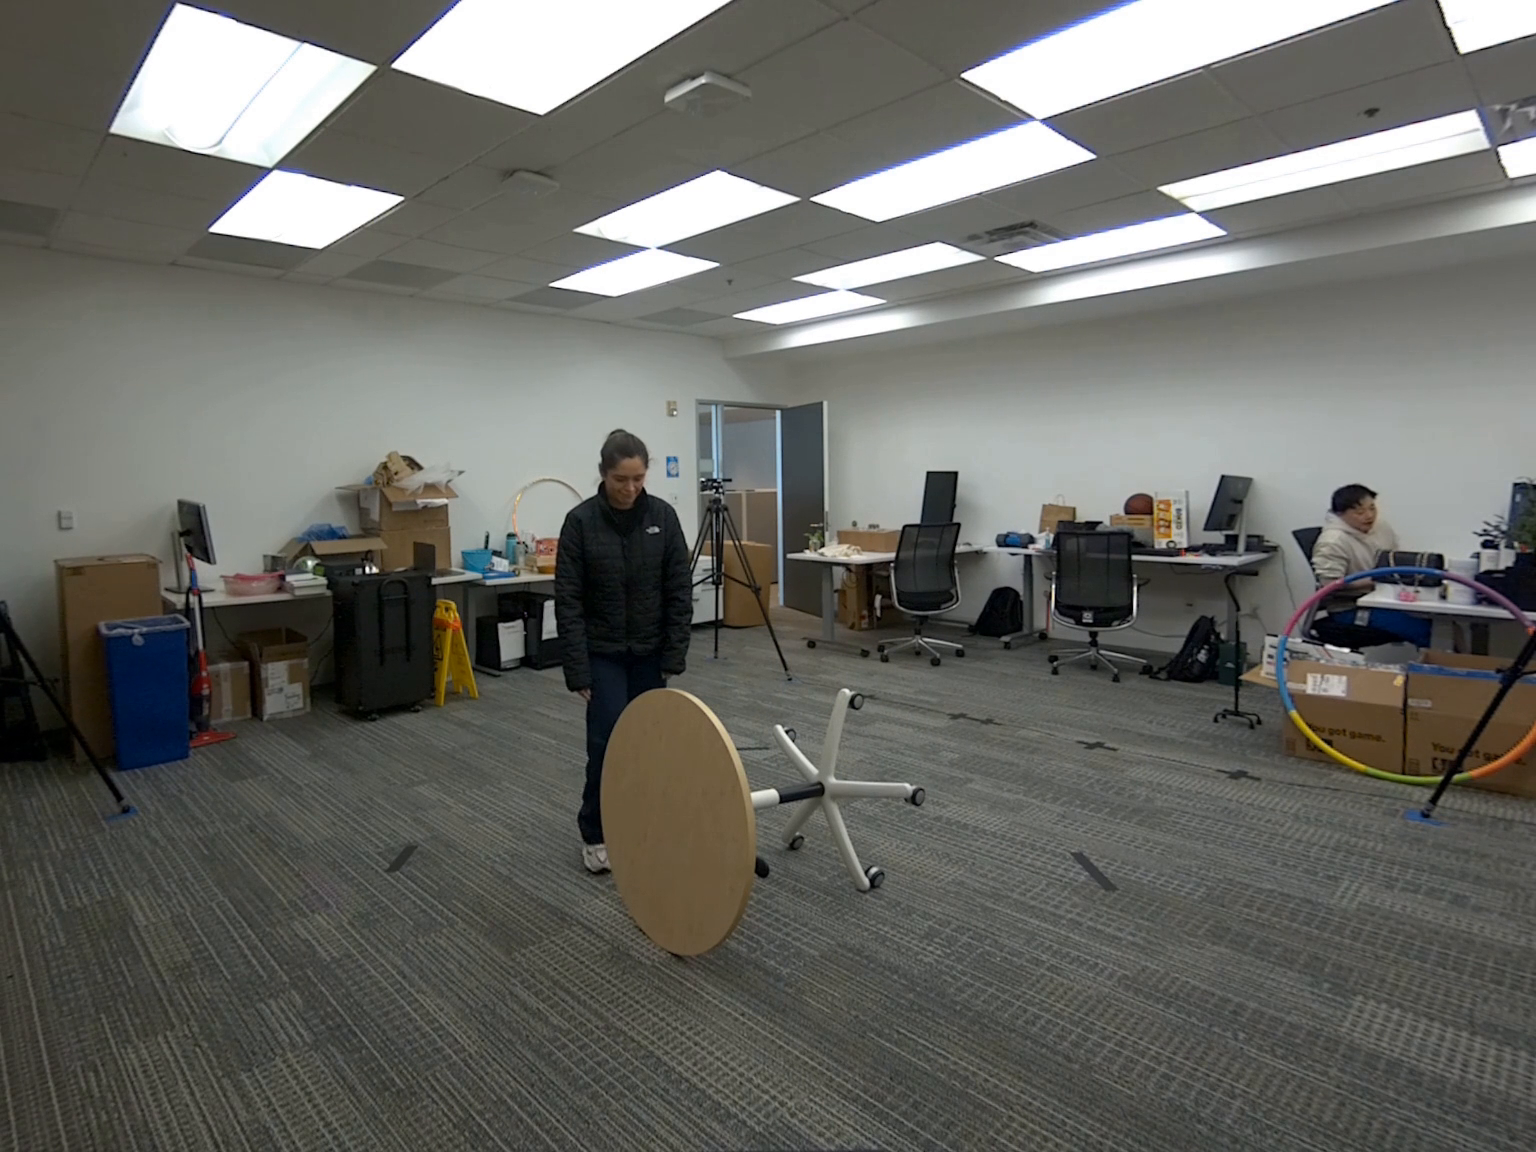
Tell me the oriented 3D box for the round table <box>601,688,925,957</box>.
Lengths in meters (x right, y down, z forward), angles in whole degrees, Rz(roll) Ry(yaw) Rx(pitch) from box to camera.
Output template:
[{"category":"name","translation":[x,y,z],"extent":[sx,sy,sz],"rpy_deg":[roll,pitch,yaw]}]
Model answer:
[{"category":"round table","translation":[-0.004,0.737,2.829],"extent":[0.763,0.785,0.809],"rpy_deg":[2,2,-40]}]
